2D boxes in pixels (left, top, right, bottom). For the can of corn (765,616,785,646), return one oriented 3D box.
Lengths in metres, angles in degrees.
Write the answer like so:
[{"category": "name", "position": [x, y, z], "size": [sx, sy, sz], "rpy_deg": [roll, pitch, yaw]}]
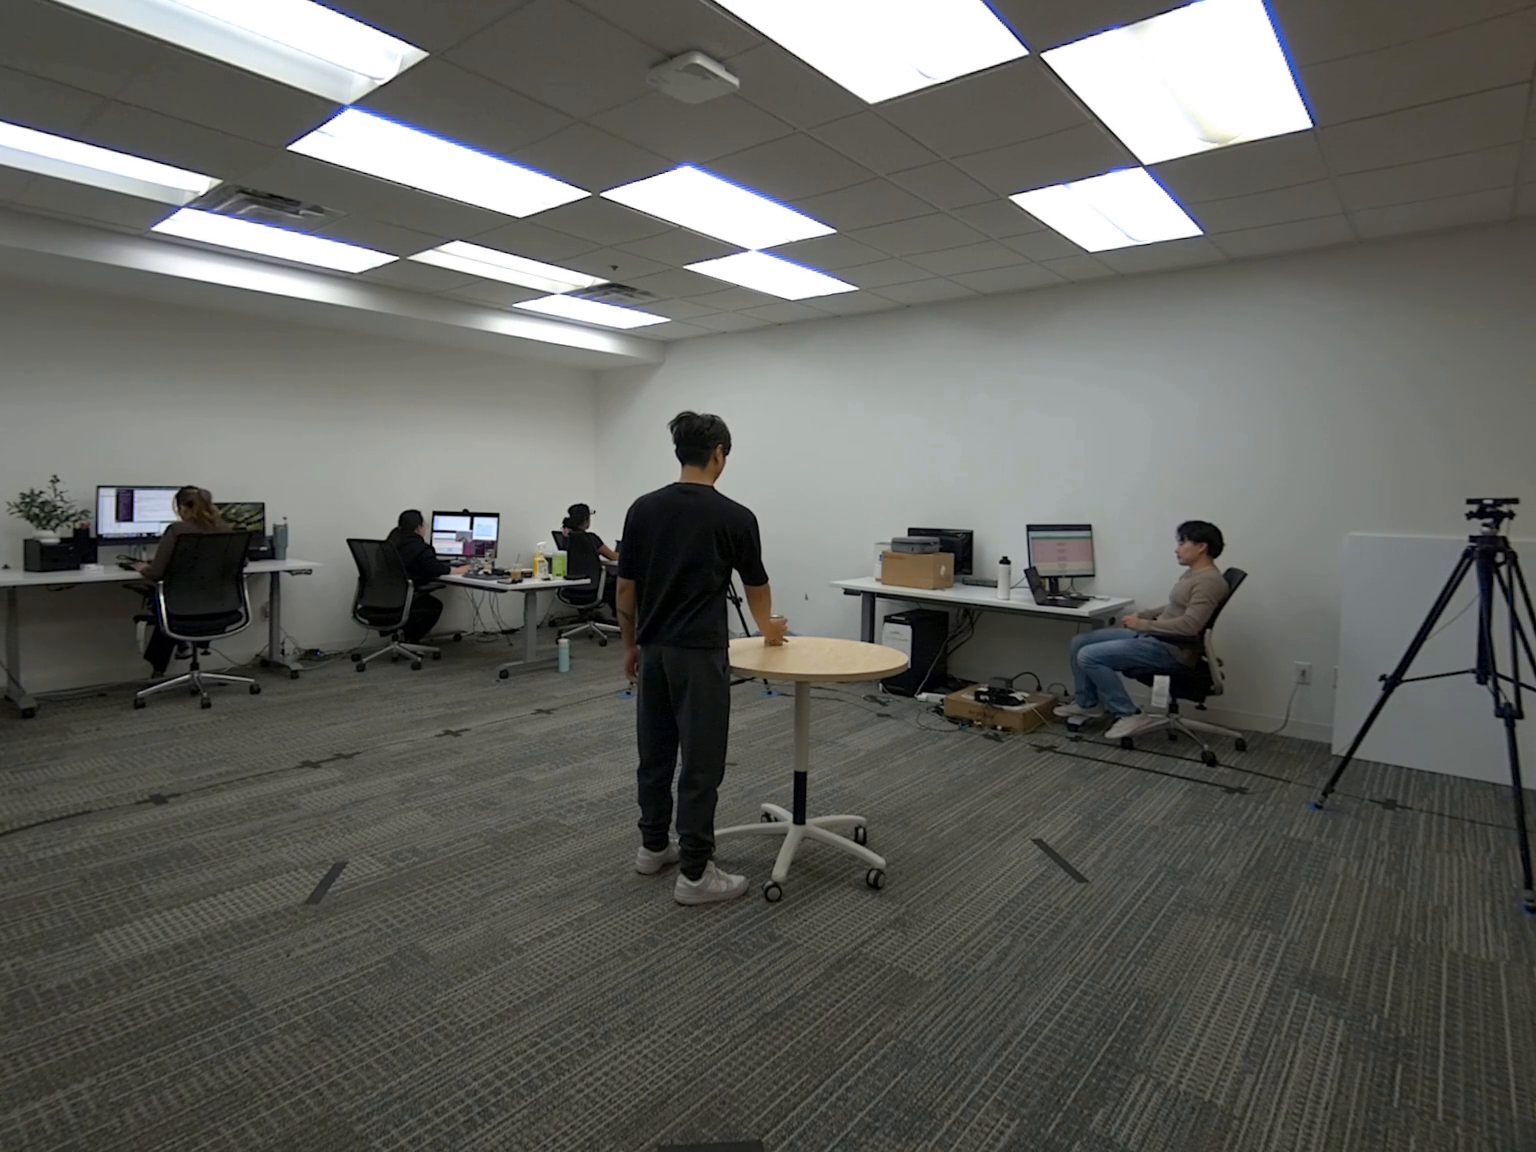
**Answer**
[{"category": "can of corn", "position": [0.017, 0.207, 3.351], "size": [0.074, 0.111, 0.074], "rpy_deg": [5, 2, -2]}]
